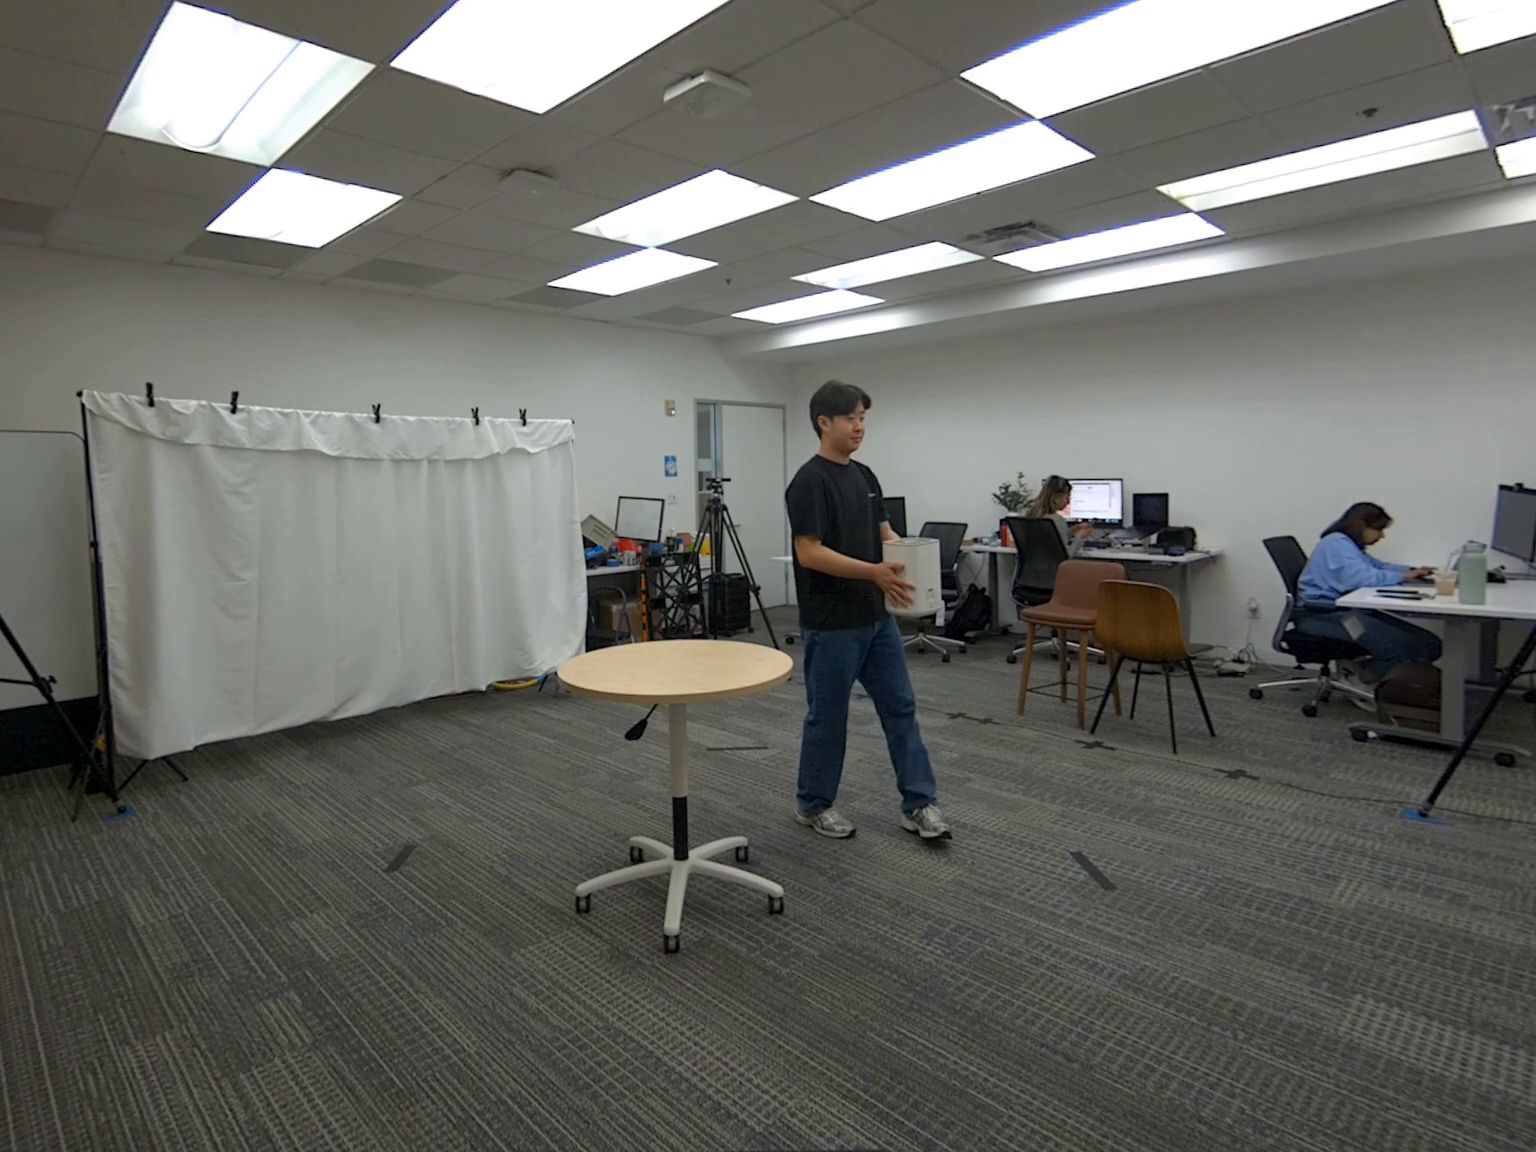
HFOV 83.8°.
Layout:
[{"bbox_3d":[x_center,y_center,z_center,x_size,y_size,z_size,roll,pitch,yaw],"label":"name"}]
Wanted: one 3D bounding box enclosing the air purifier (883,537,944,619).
[{"bbox_3d":[0.515,0.005,3.079,0.167,0.264,0.177,-8,7,-43],"label":"air purifier"}]
